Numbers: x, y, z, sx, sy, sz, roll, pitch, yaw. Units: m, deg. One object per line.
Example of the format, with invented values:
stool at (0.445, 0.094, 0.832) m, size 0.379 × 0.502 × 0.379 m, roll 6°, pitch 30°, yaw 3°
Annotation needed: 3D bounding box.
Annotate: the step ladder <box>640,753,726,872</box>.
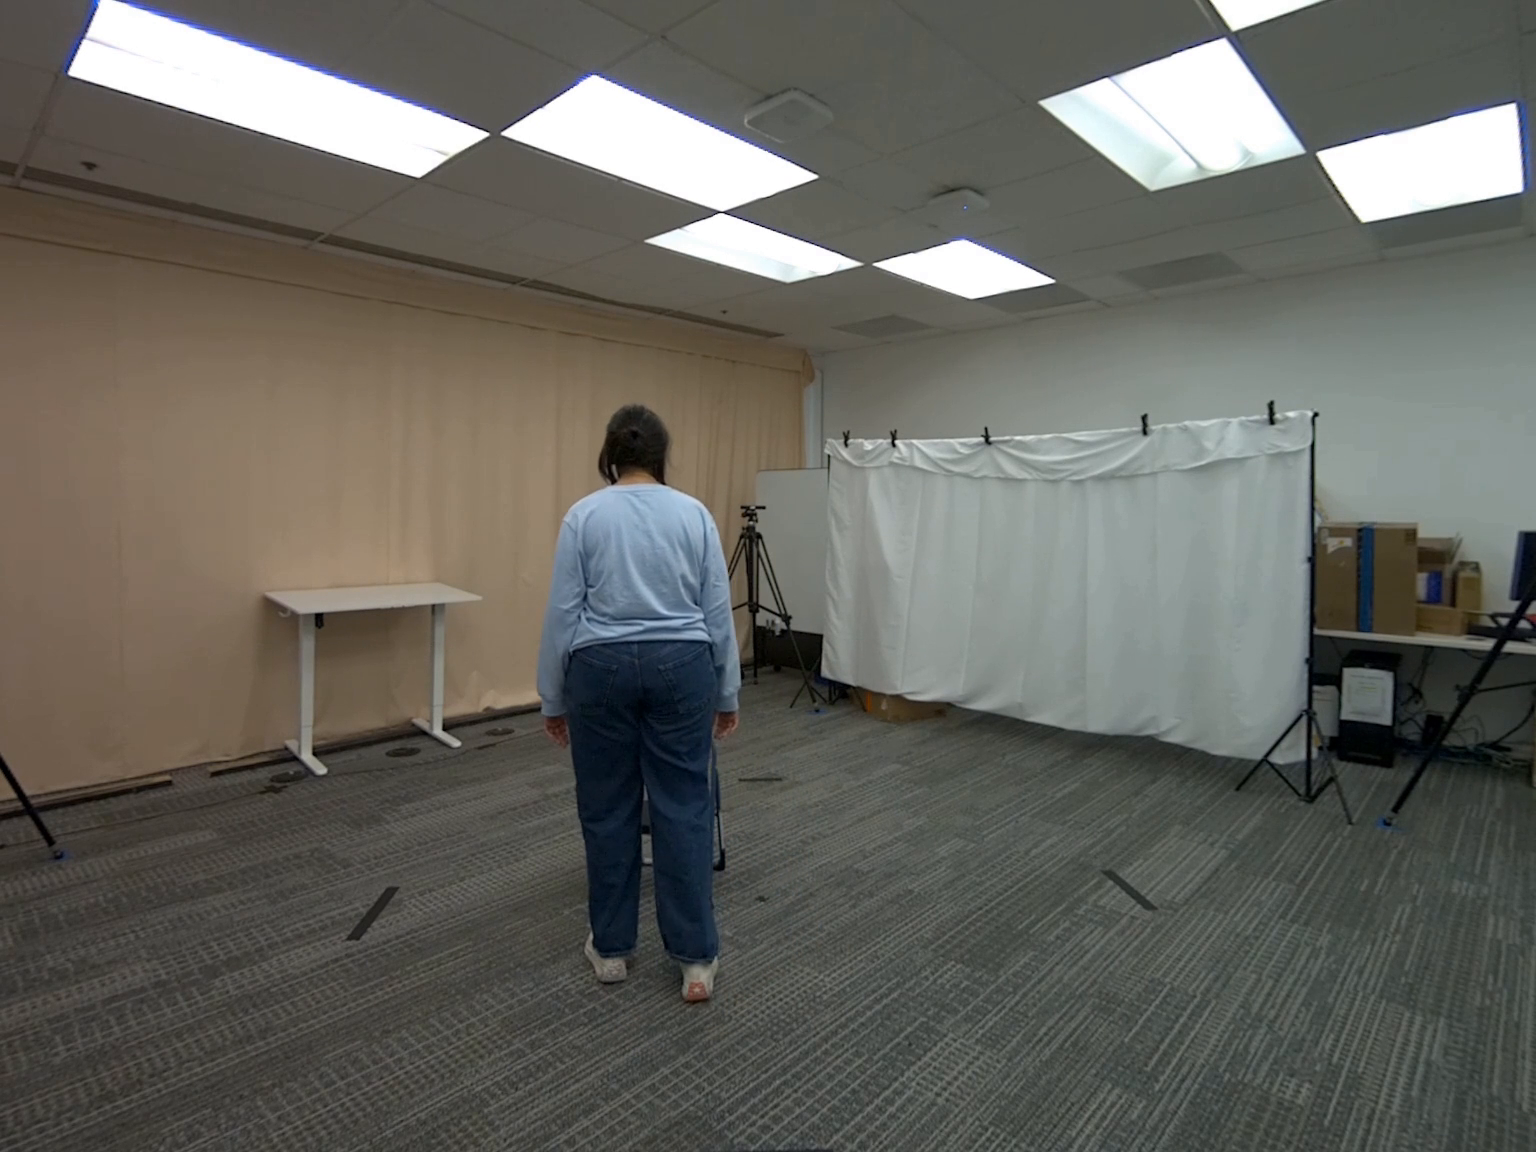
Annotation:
step ladder at (-0.387, 0.837, 3.086) m, size 0.435 × 0.604 × 0.347 m, roll 0°, pitch 4°, yaw 8°
